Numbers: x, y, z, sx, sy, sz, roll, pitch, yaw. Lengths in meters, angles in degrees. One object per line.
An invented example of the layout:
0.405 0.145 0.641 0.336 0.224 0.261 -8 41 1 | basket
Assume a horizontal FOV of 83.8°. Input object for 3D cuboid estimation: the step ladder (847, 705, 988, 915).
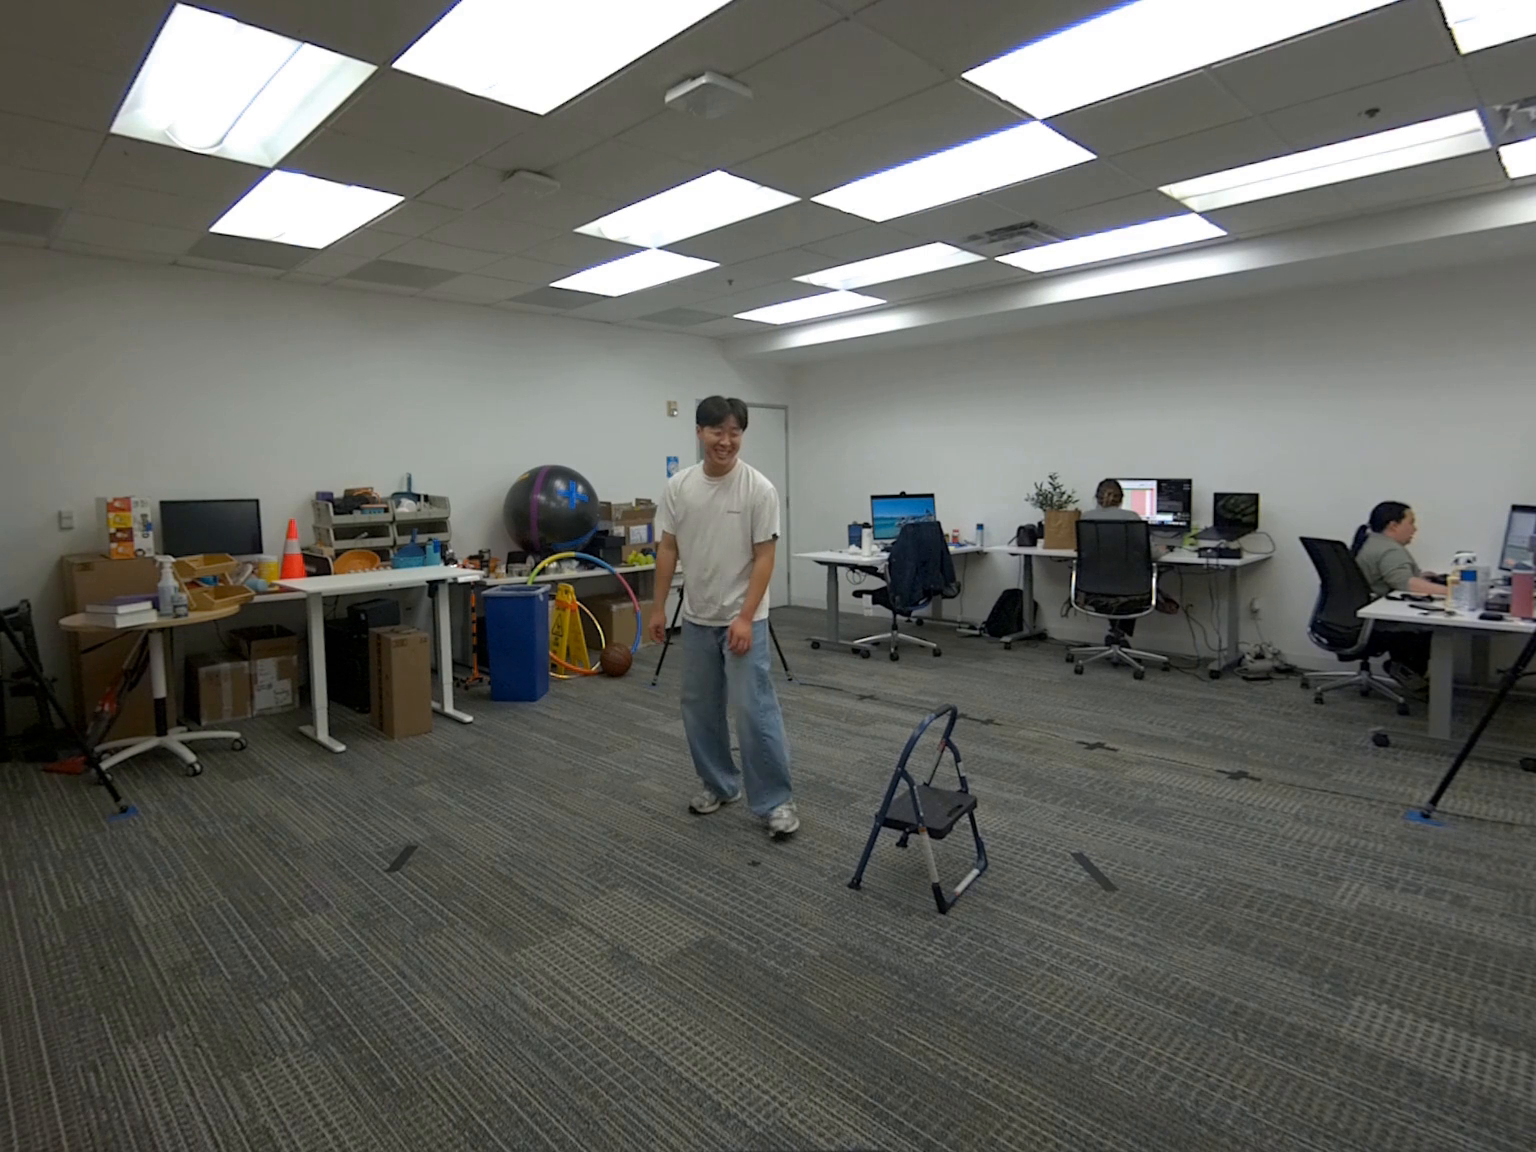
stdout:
0.532 0.748 2.960 0.359 0.604 0.420 2 5 33 | step ladder
